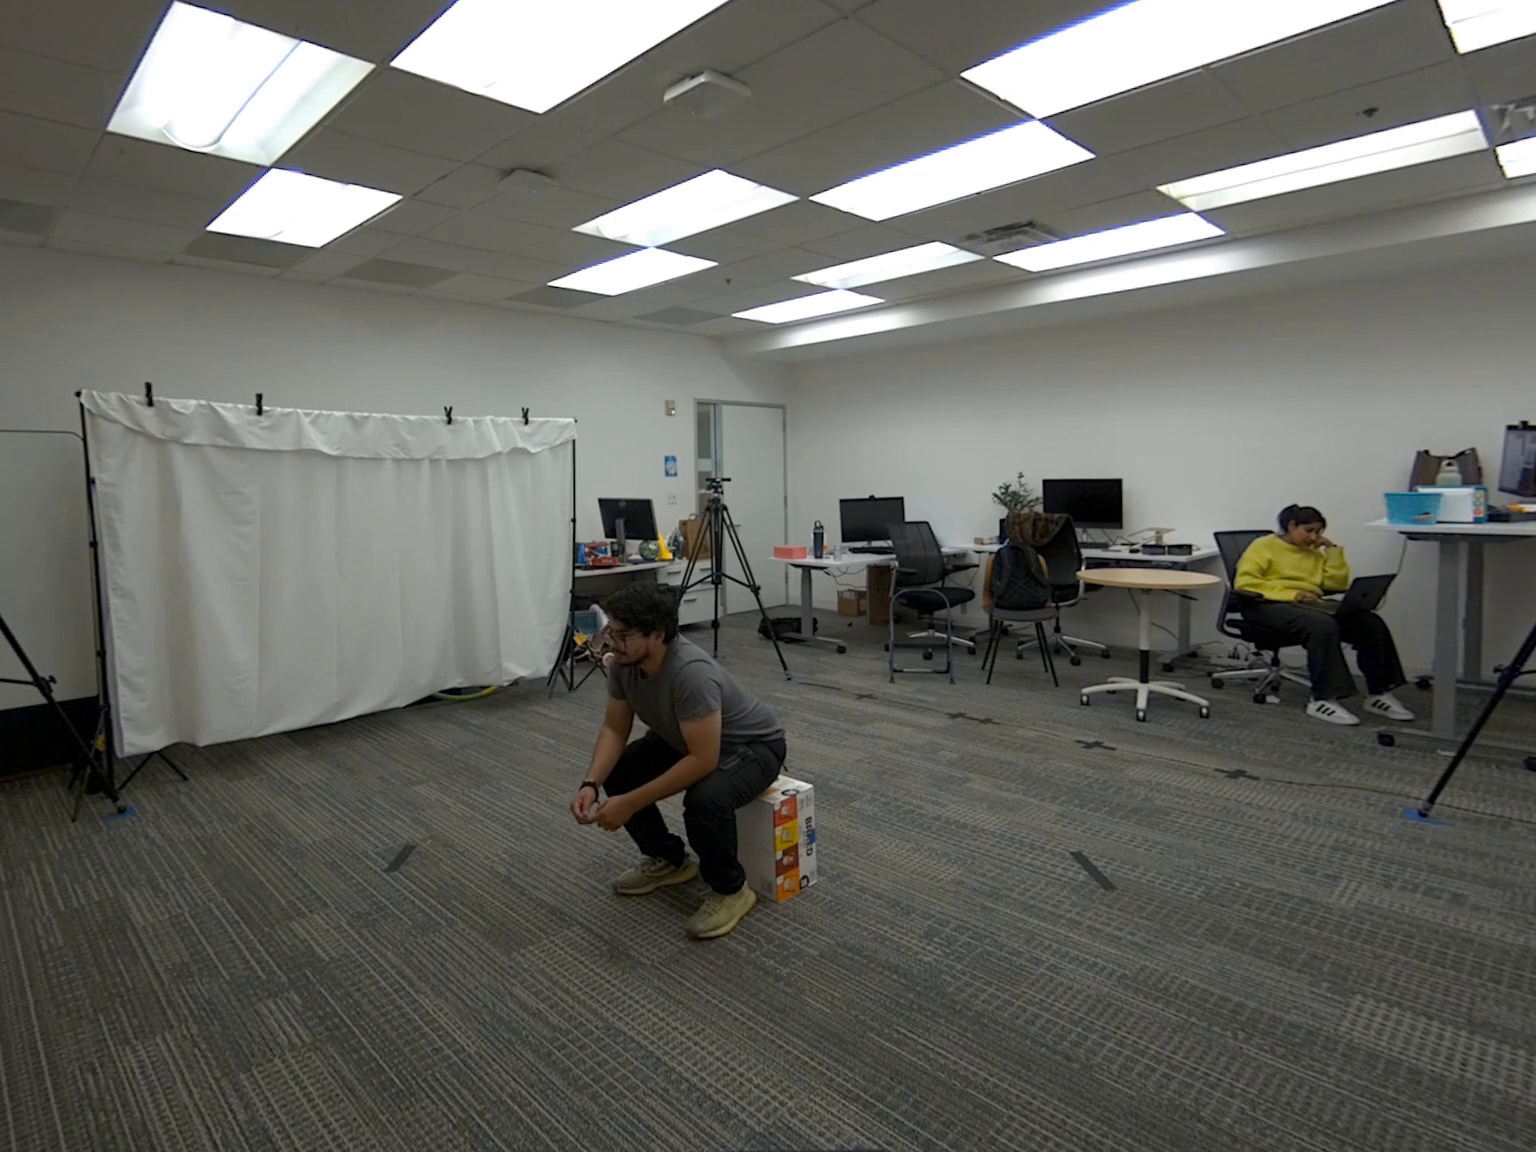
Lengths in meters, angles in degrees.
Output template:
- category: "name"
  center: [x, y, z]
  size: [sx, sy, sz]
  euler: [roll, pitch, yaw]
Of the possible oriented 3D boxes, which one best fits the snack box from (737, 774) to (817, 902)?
- category: "snack box"
  center: [-0.046, 0.884, 3.015]
  size: [0.417, 0.339, 0.200]
  euler: [4, 7, 44]
